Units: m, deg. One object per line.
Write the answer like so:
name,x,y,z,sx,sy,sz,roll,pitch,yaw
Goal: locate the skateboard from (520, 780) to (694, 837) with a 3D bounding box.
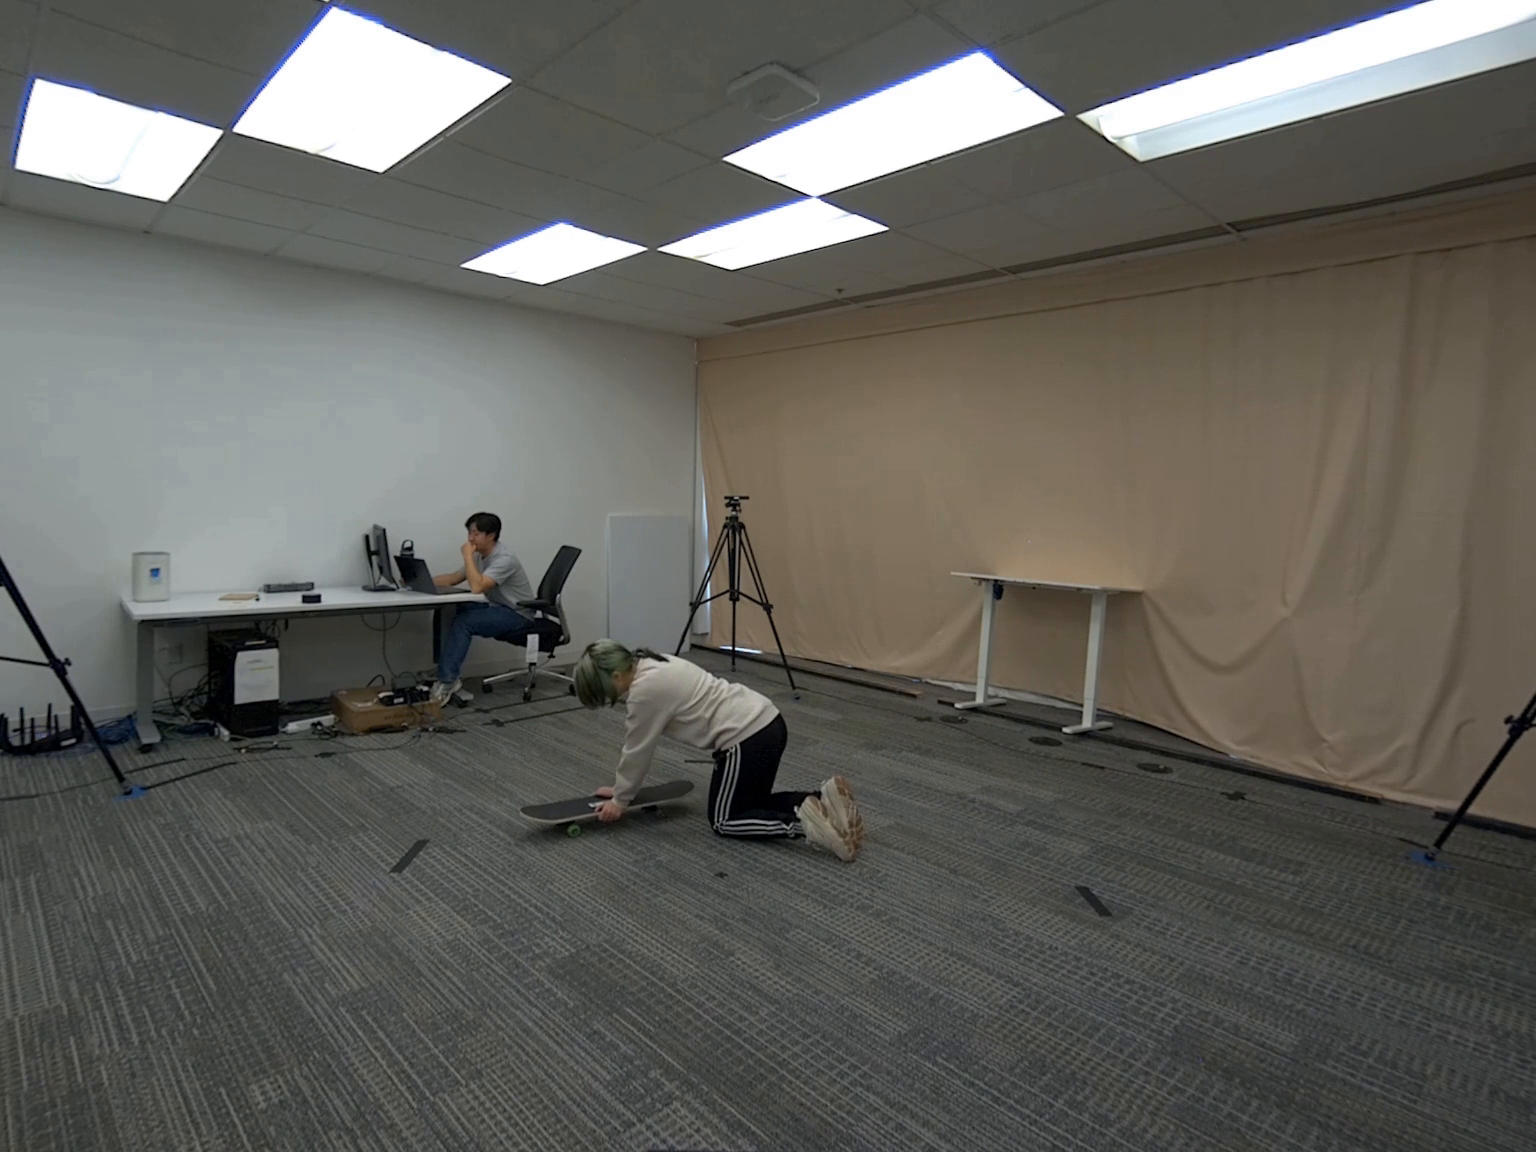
skateboard,-0.670,0.983,3.586,0.769,0.110,0.198,-2,6,-32
